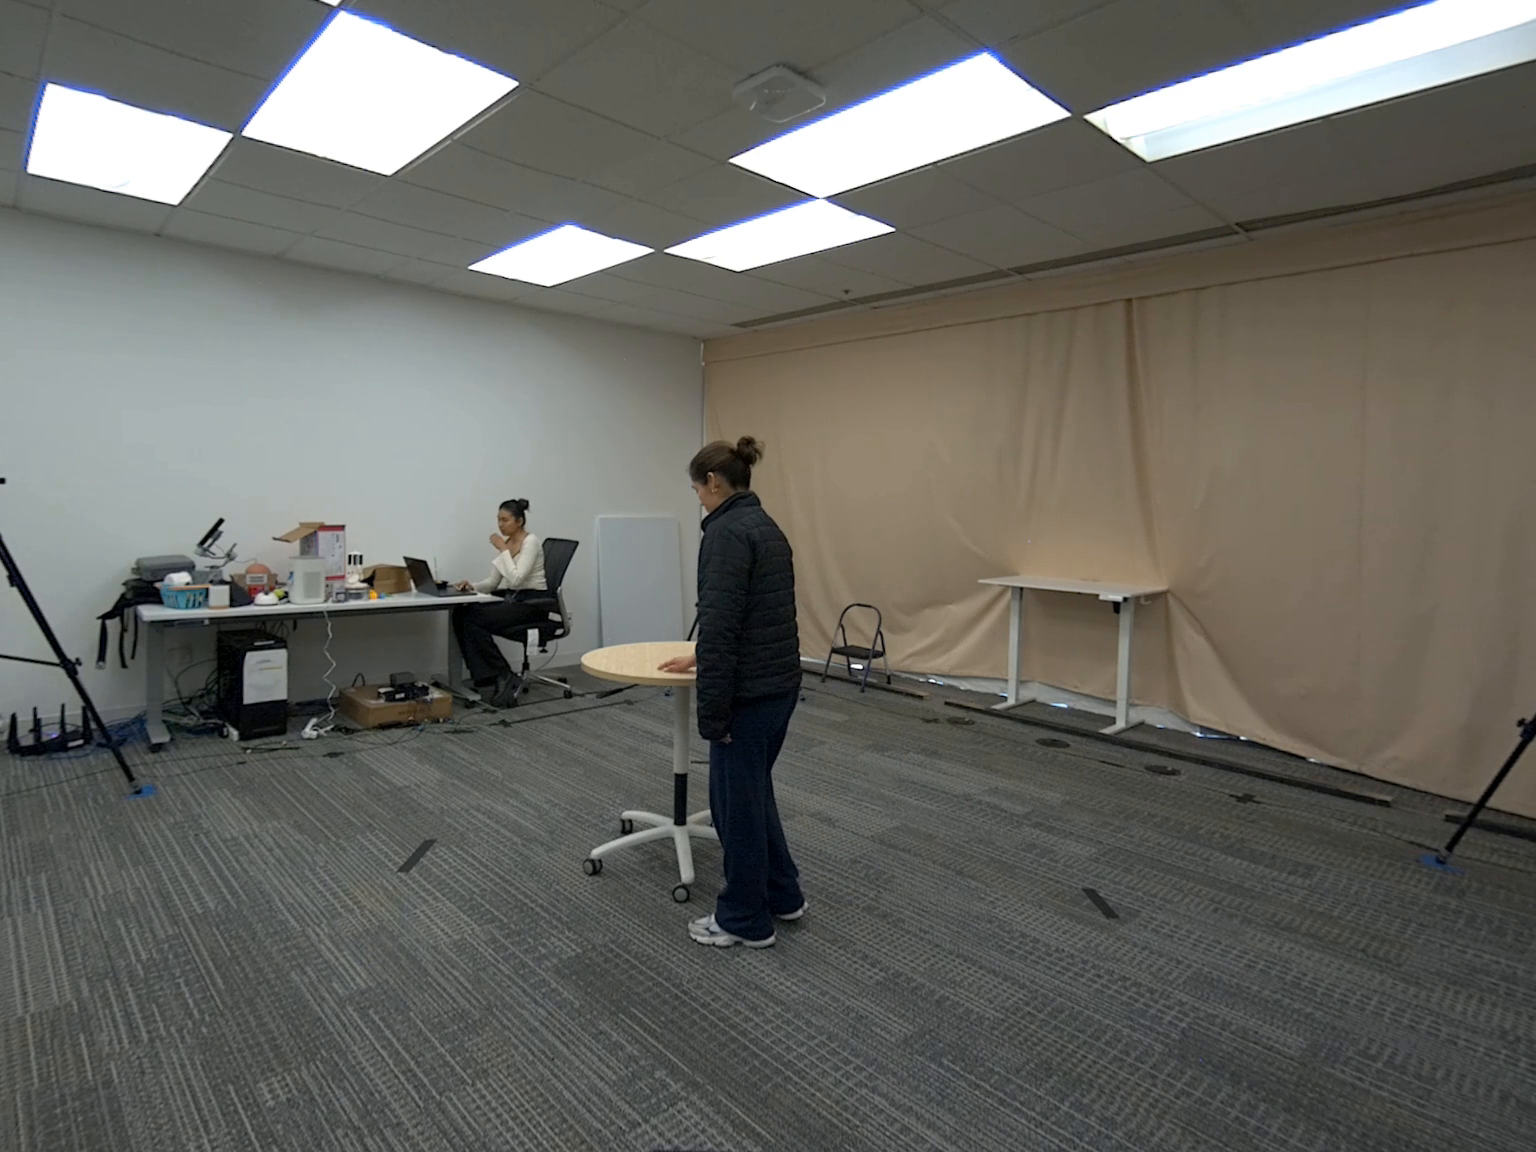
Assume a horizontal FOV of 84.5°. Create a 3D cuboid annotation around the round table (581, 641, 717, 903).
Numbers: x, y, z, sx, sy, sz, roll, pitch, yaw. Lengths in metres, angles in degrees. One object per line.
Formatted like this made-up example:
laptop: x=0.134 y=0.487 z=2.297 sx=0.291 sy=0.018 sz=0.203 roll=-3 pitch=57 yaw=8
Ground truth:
round table: x=-0.327 y=0.699 z=3.212 sx=0.784 sy=0.784 sz=0.787 roll=1 pitch=4 yaw=-1
